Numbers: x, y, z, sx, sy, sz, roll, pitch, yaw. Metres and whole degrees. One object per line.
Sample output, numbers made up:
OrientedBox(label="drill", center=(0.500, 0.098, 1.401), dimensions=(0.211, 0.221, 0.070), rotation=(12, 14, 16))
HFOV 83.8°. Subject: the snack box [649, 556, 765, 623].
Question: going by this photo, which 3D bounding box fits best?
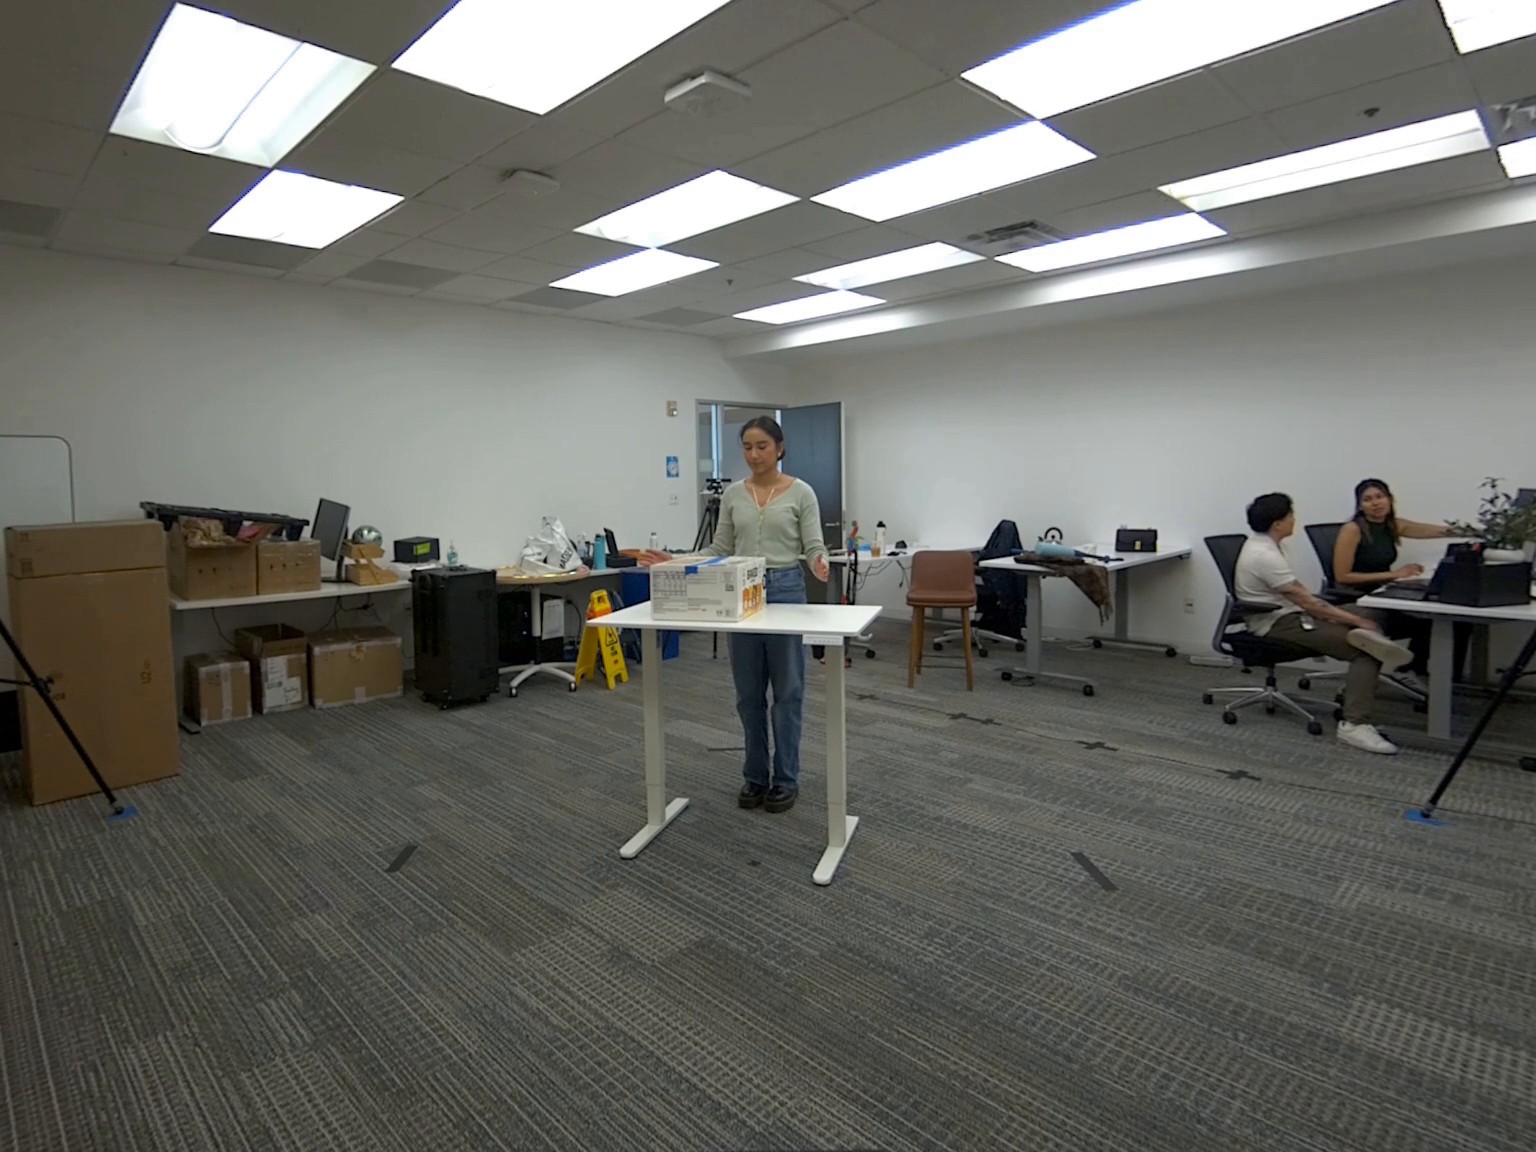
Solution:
OrientedBox(label="snack box", center=(-0.220, 0.045, 3.282), dimensions=(0.346, 0.205, 0.400), rotation=(0, 5, 16))
